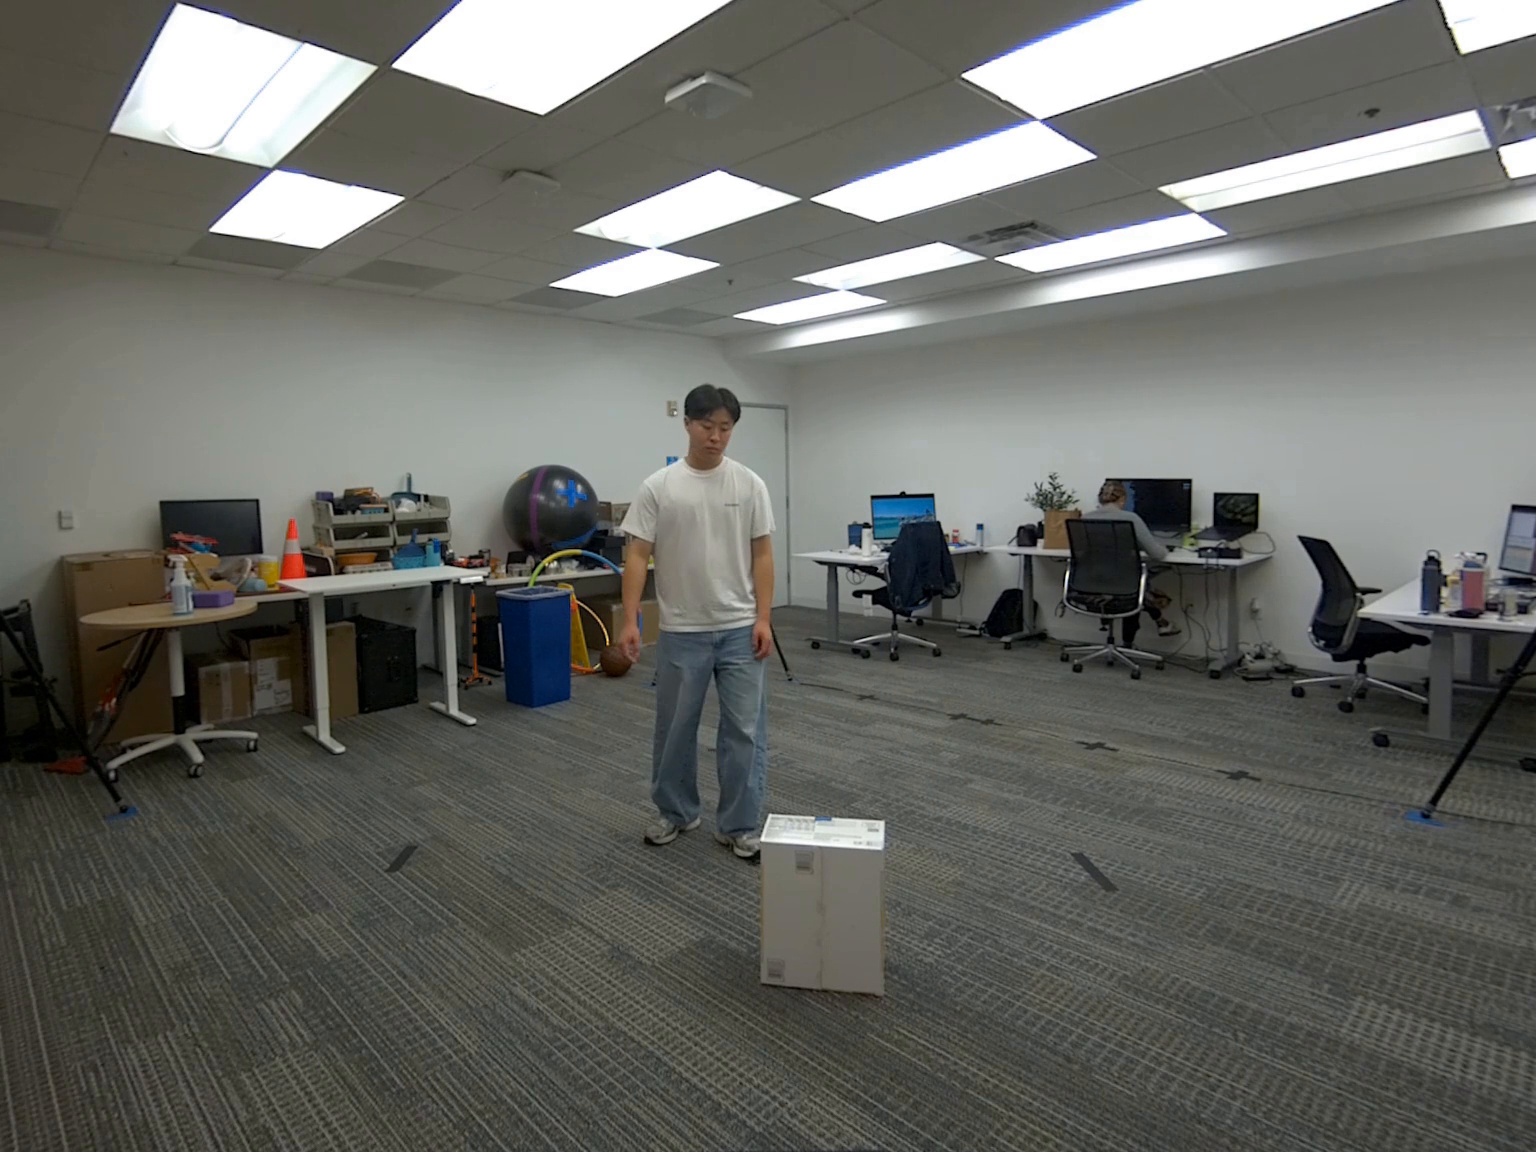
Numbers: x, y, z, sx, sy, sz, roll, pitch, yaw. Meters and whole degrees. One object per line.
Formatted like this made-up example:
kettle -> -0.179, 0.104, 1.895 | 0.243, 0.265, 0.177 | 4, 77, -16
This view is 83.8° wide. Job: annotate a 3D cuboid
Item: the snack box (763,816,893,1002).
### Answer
snack box -> 0.172, 0.921, 2.408 | 0.344, 0.404, 0.204 | 0, 3, 10
